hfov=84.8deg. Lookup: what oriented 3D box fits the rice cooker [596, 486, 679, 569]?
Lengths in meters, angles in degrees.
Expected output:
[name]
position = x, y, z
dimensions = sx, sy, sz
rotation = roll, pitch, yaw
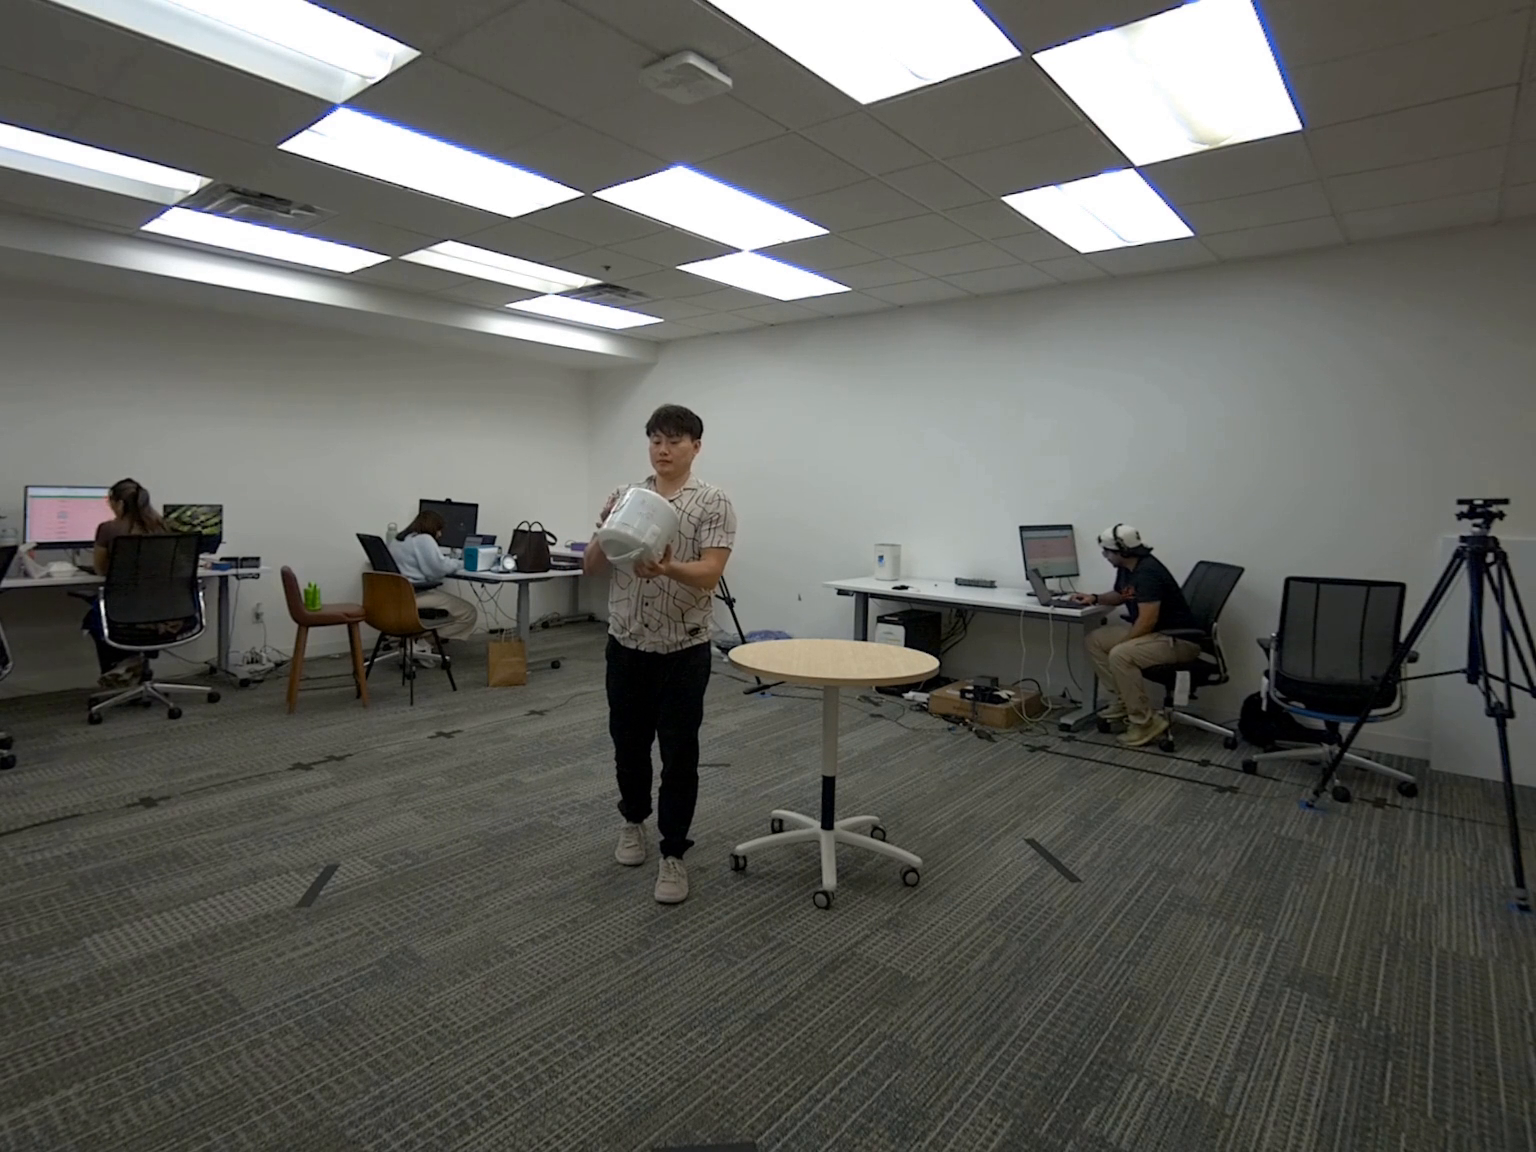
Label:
[rice cooker]
position = -0.424, -0.137, 2.662
dimensions = 0.226, 0.235, 0.210
rotation = -8, -46, 46
